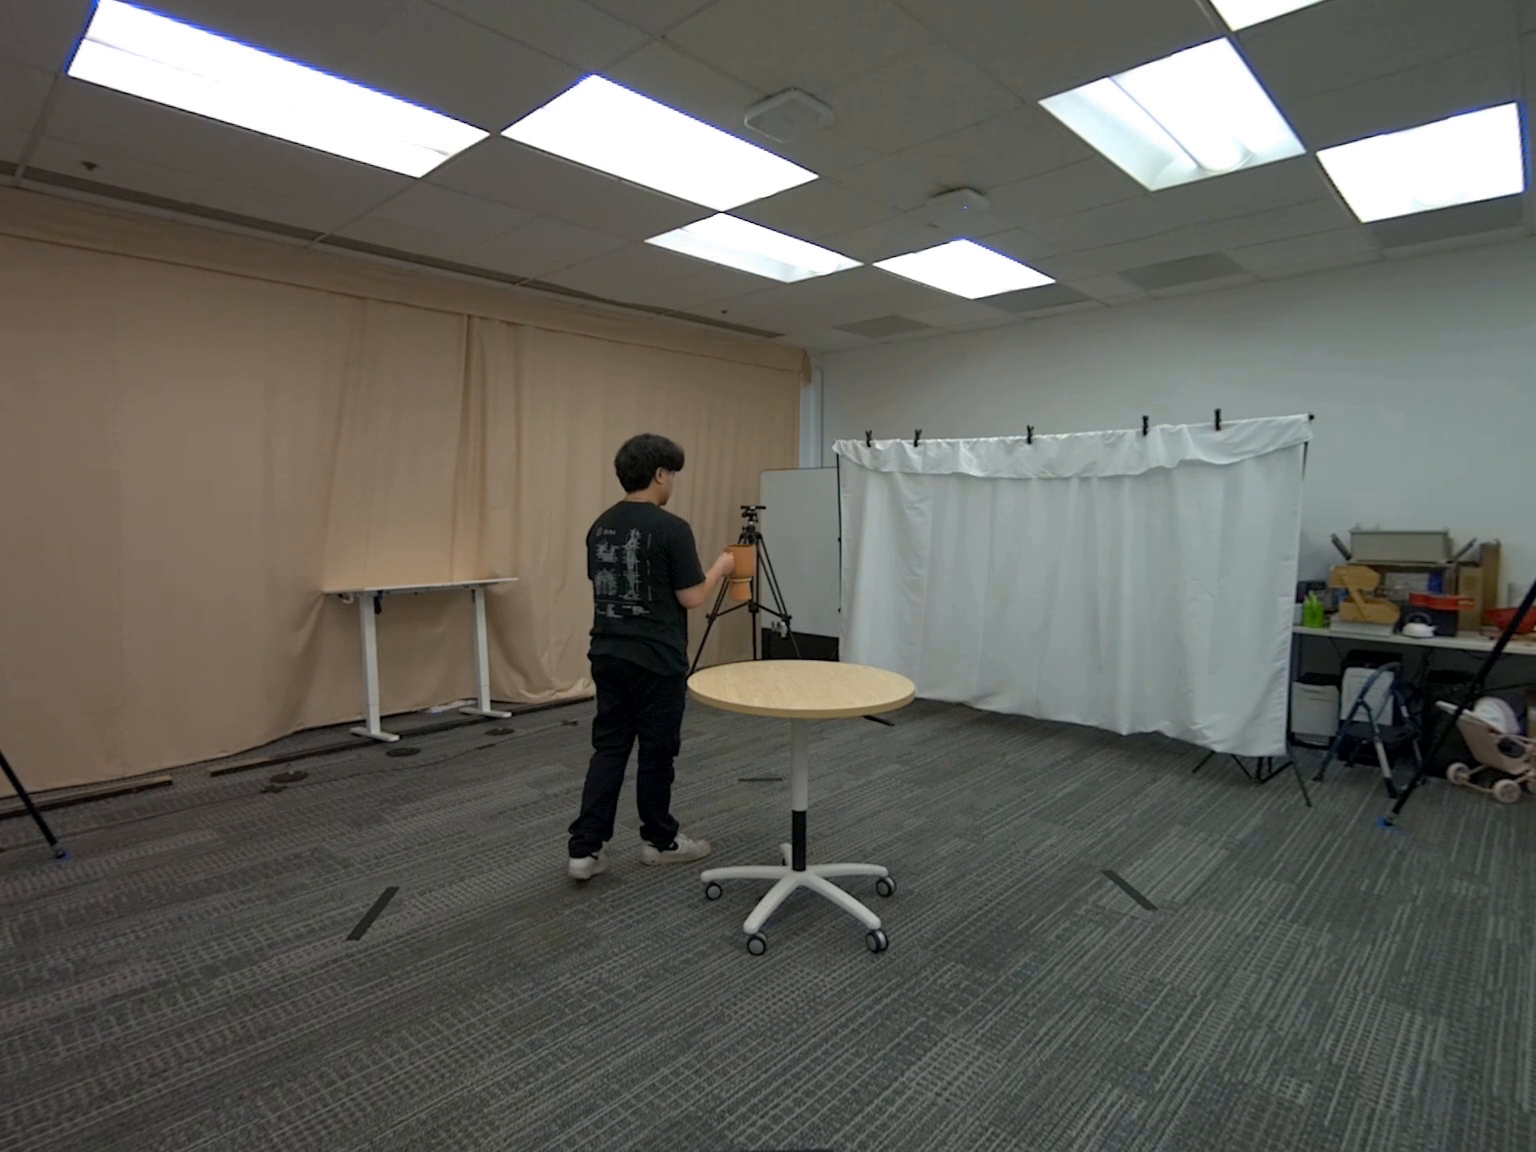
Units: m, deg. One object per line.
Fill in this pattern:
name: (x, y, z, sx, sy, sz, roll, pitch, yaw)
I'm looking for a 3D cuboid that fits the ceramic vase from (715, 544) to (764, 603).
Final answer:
ceramic vase: (-0.120, -0.015, 3.473, 0.156, 0.219, 0.138, -2, 6, -19)
